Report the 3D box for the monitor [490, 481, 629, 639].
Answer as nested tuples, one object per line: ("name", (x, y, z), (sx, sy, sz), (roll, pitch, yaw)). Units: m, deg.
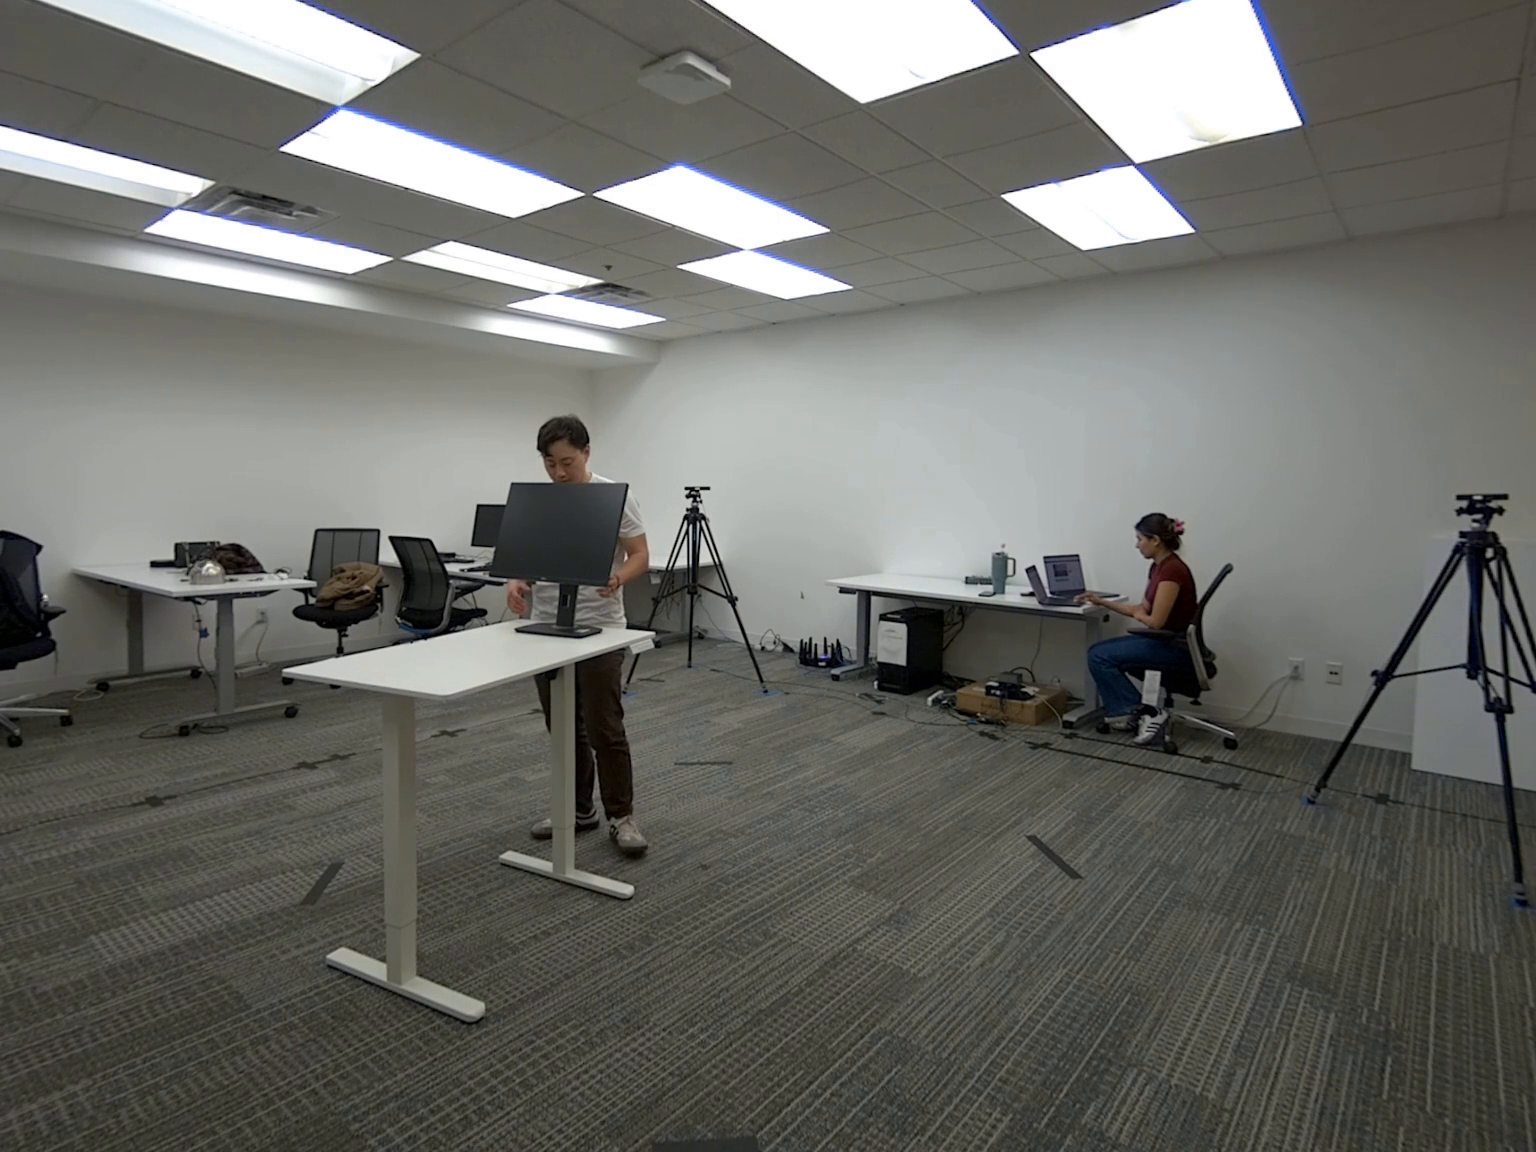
("monitor", (-0.729, -0.066, 2.937), (0.554, 0.522, 0.182), (3, 1, 29))
